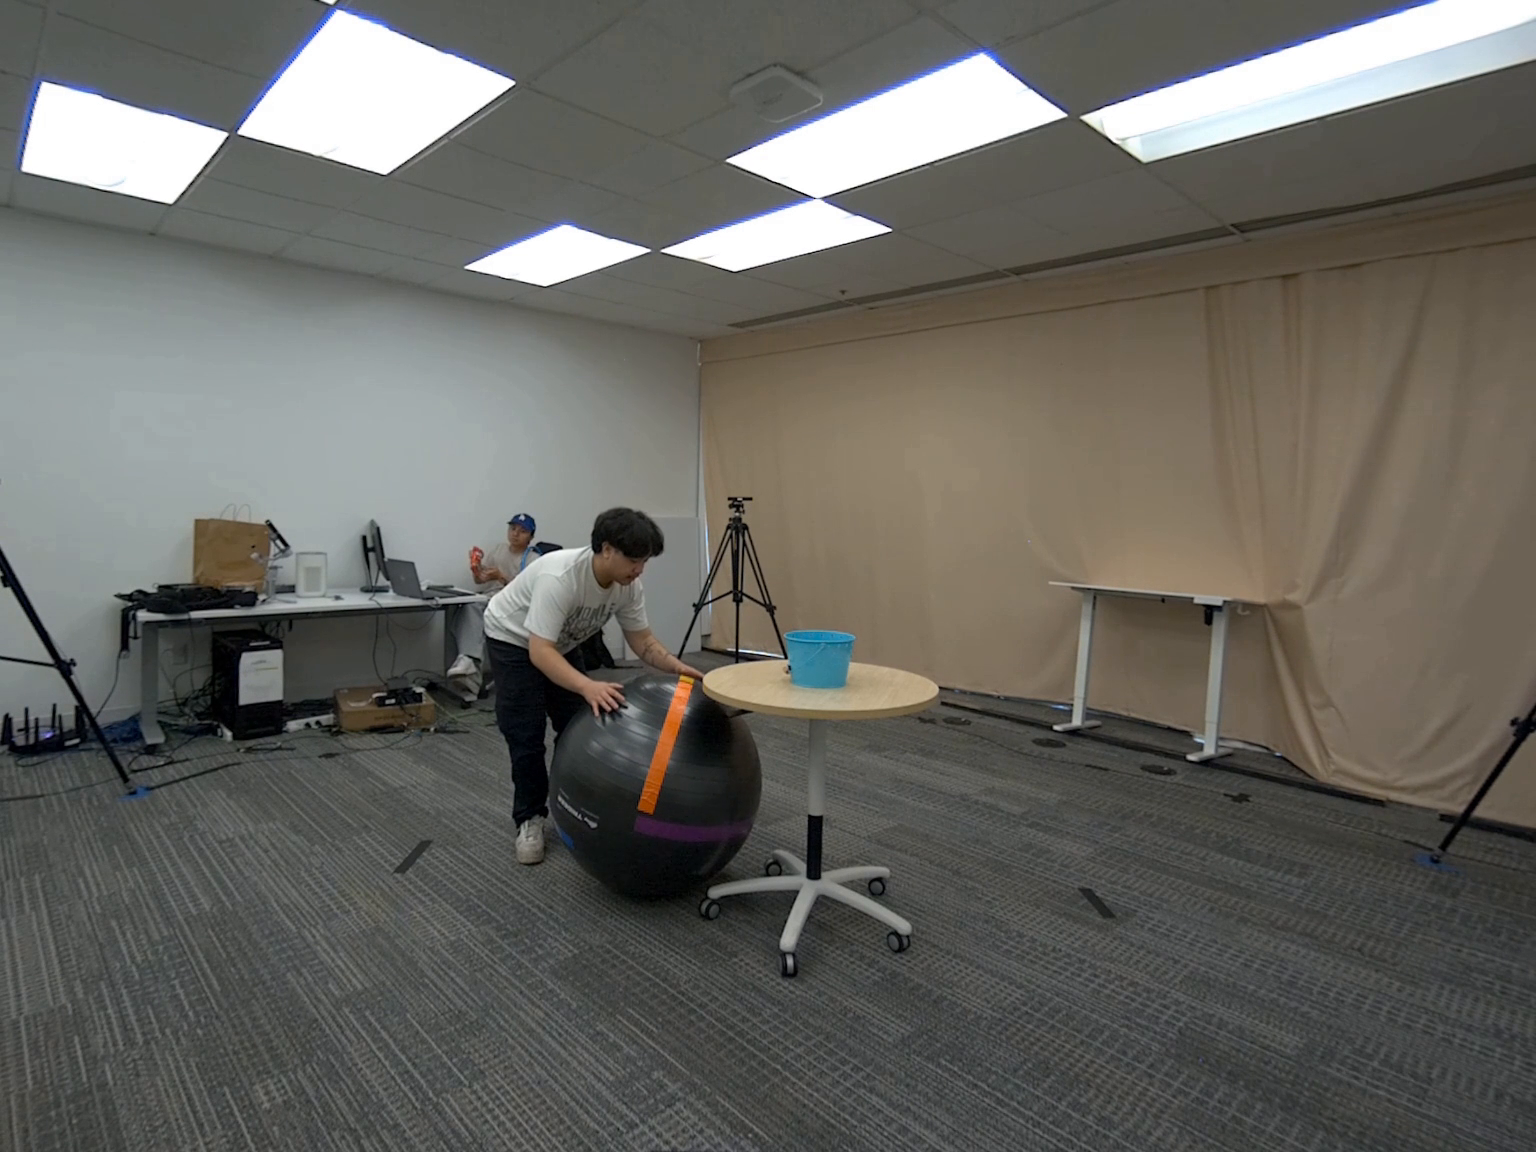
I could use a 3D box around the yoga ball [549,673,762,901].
[{"bbox_3d":[-0.406,0.745,3.013,0.757,0.756,0.760,1,4,-1],"label":"yoga ball"}]
